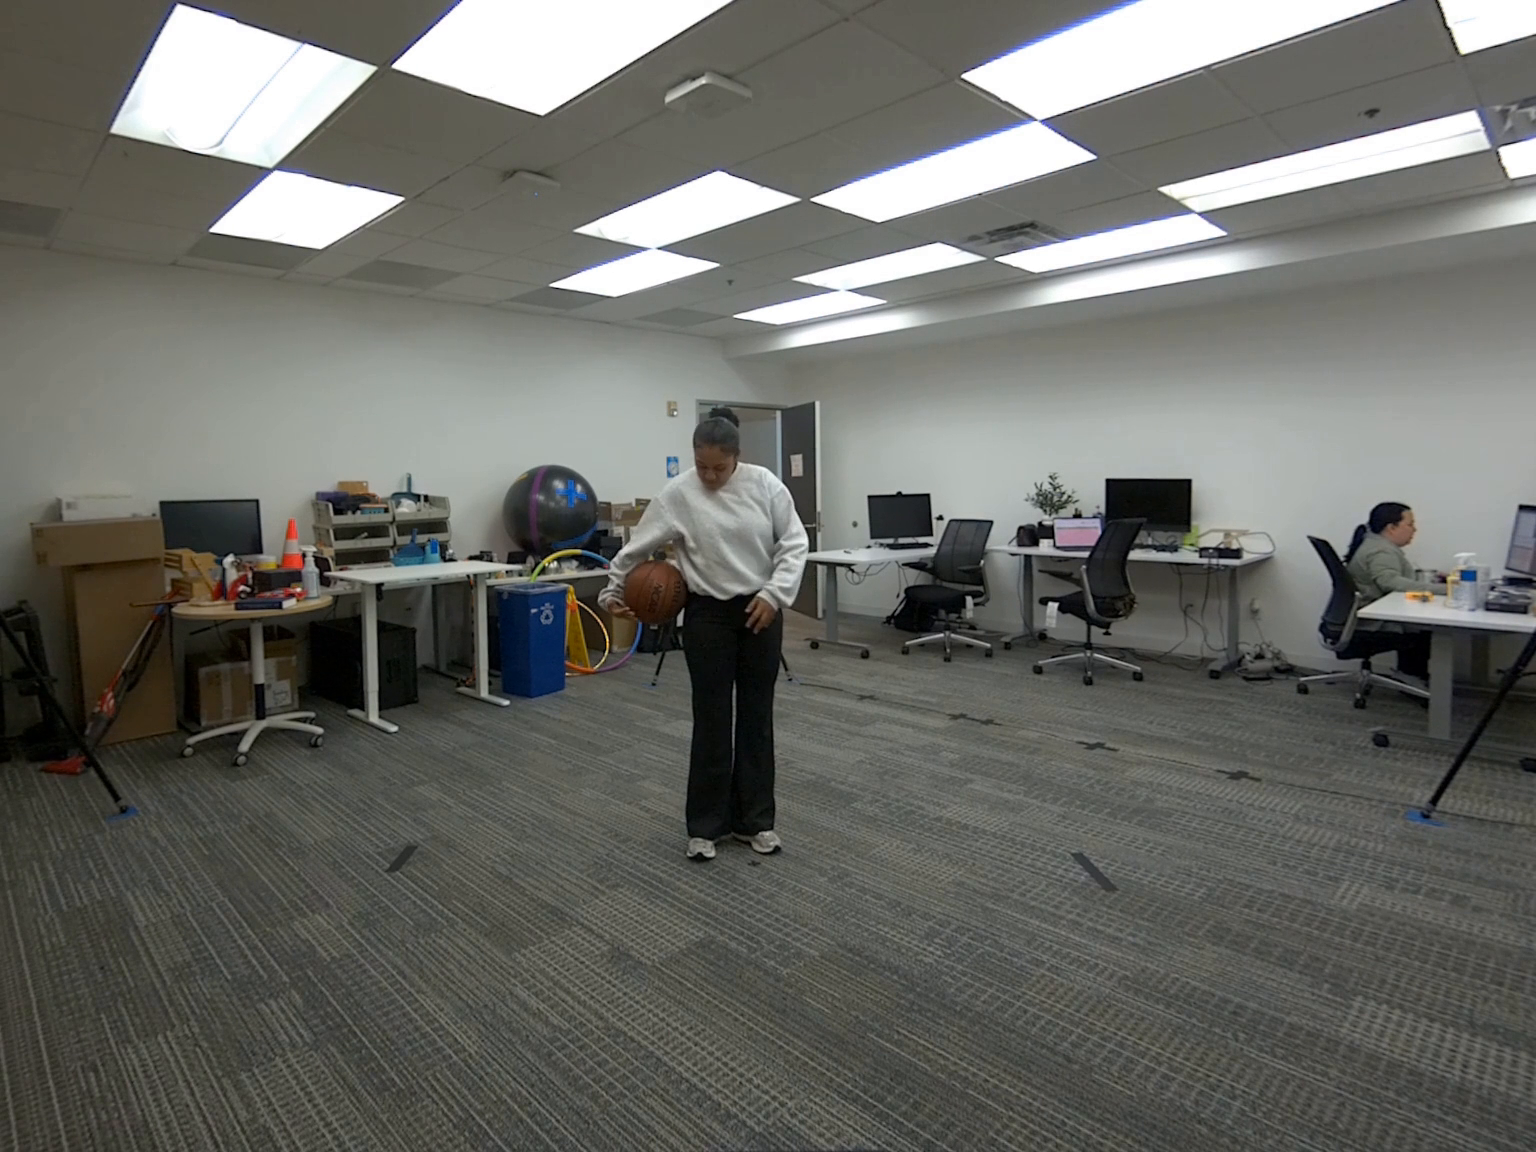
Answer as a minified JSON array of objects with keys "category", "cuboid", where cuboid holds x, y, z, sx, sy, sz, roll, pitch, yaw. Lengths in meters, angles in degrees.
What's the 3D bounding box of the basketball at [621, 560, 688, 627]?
[{"category":"basketball","cuboid":[-0.411,0.056,3.167,0.236,0.235,0.237,-1,5,-2]}]
